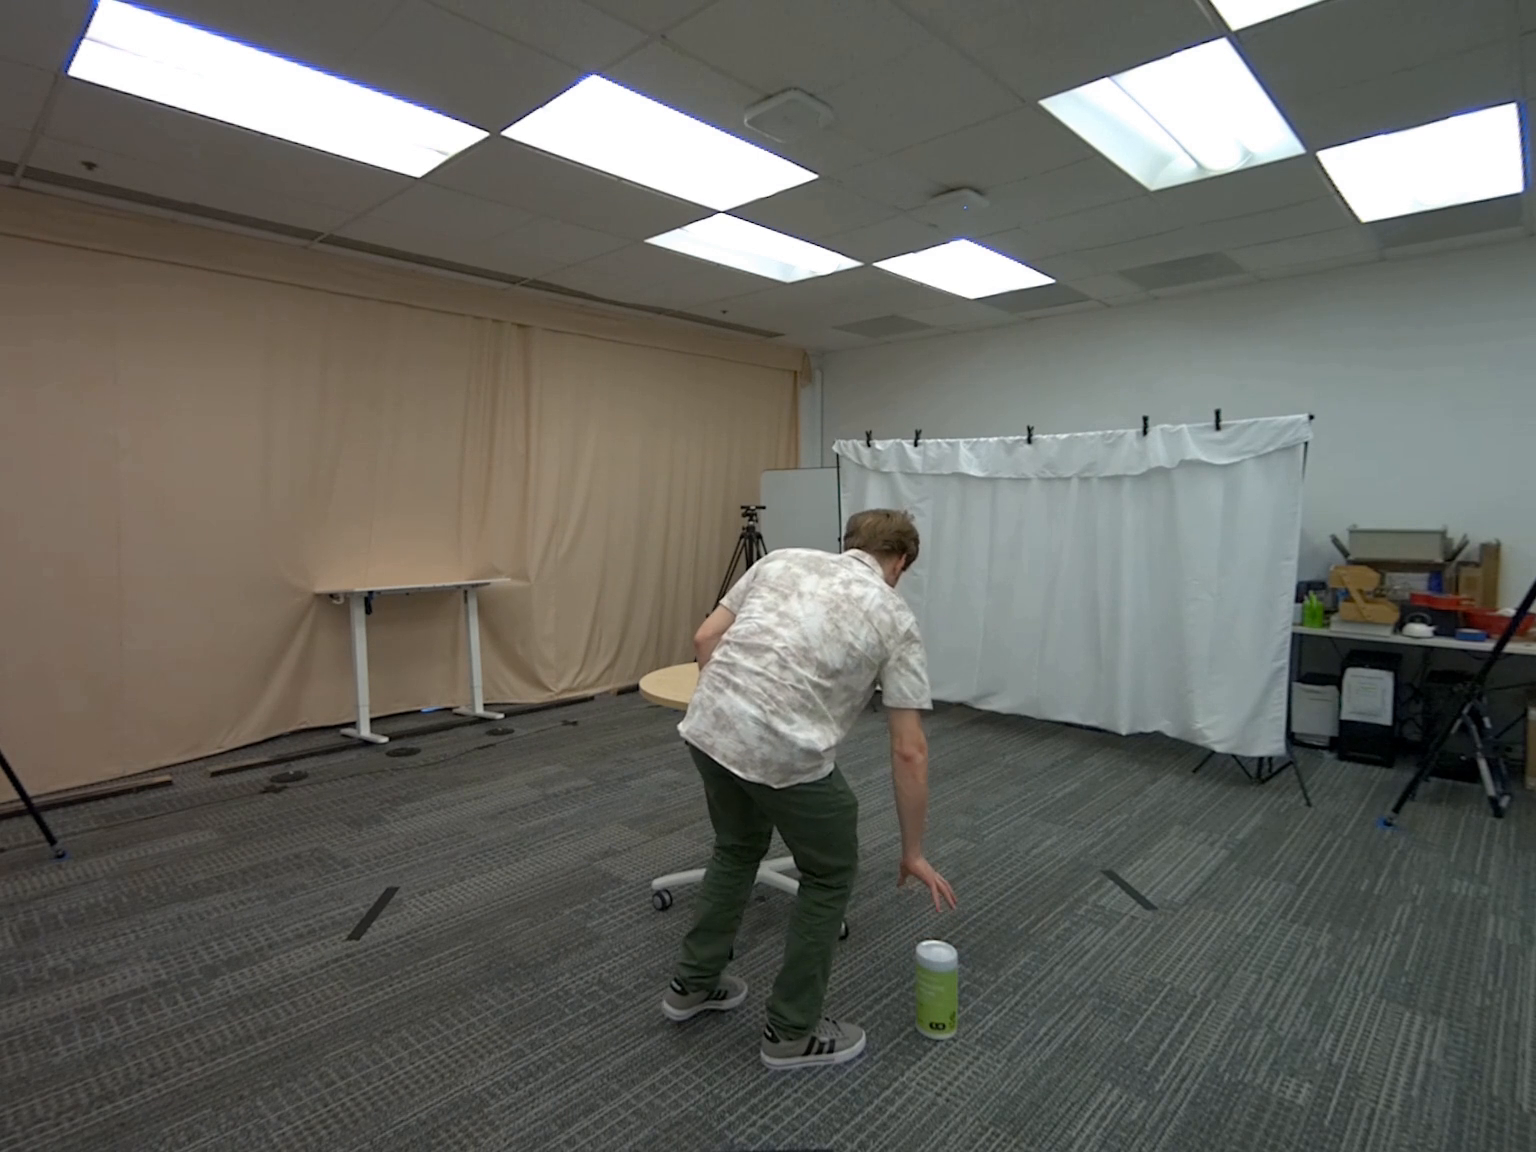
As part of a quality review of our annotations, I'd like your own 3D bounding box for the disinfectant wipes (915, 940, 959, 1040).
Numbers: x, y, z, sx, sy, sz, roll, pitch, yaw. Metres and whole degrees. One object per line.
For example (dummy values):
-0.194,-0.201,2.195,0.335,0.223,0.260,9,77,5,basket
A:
0.450,1.097,2.233,0.118,0.217,0.118,-1,3,-2,disinfectant wipes
